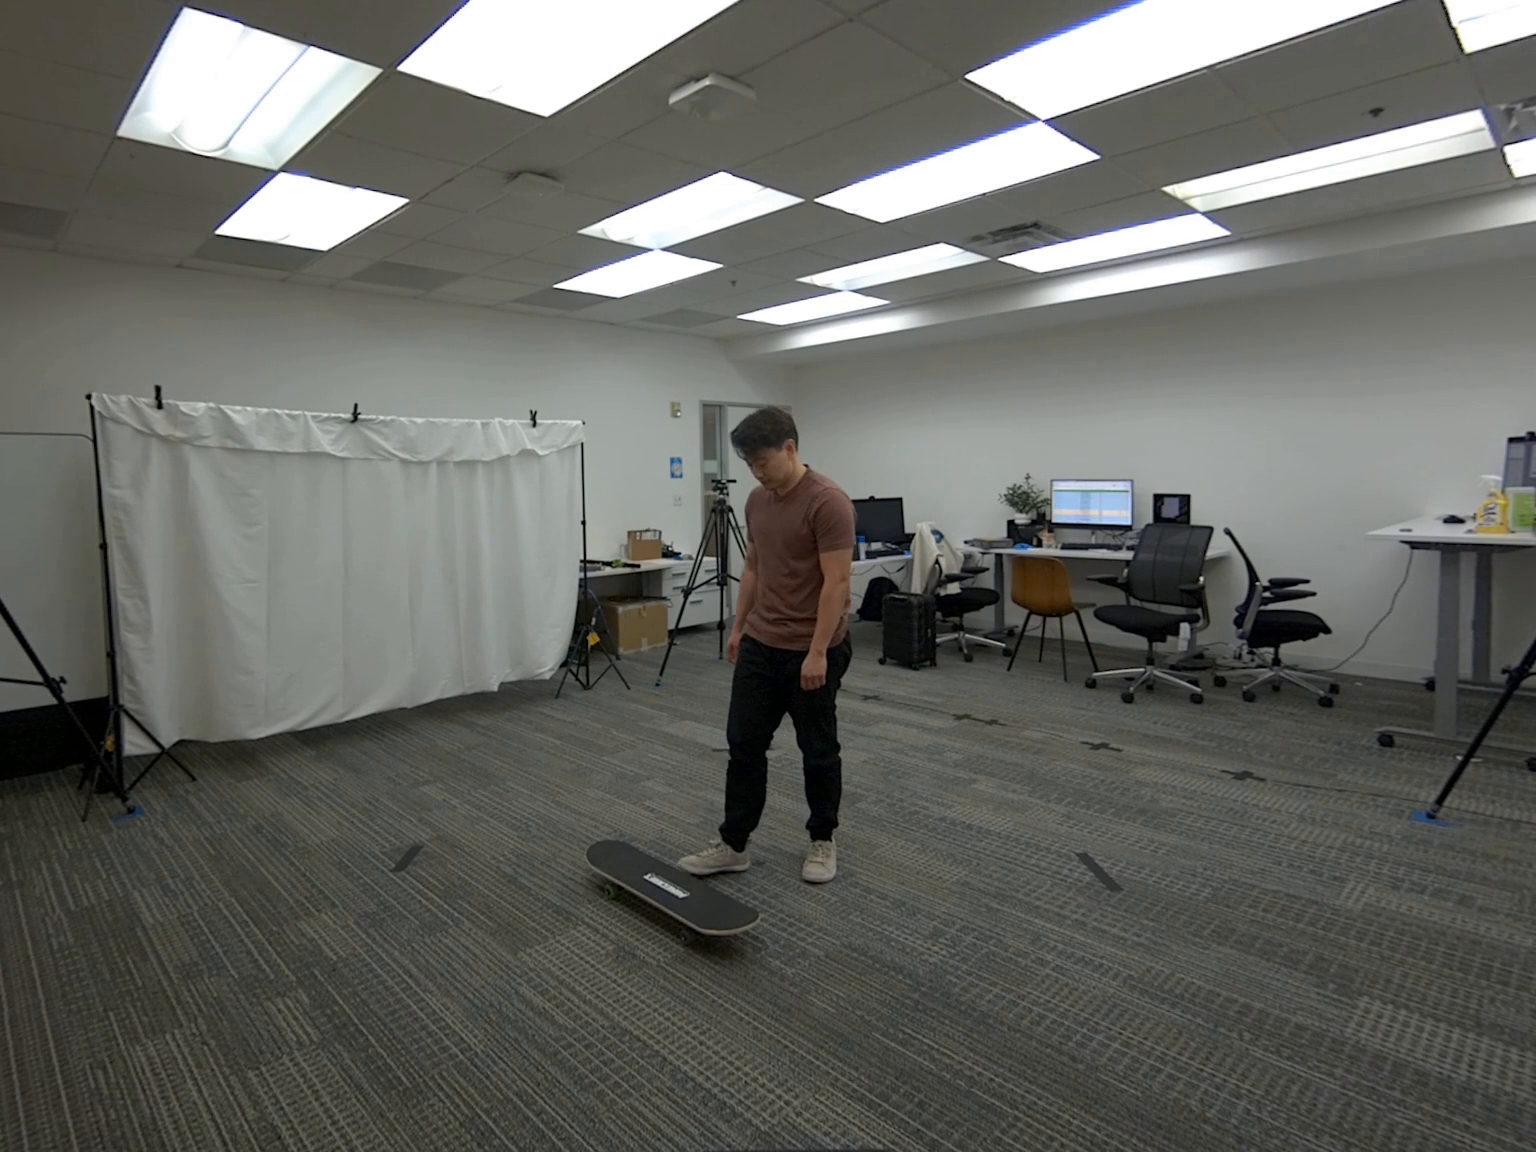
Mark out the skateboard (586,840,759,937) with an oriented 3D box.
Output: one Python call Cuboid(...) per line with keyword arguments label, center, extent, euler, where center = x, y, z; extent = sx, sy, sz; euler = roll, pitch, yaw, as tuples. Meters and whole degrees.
Cuboid(label="skateboard", center=(-0.330, 1.040, 2.766), extent=(0.189, 0.110, 0.810), euler=(-9, 10, -43))
